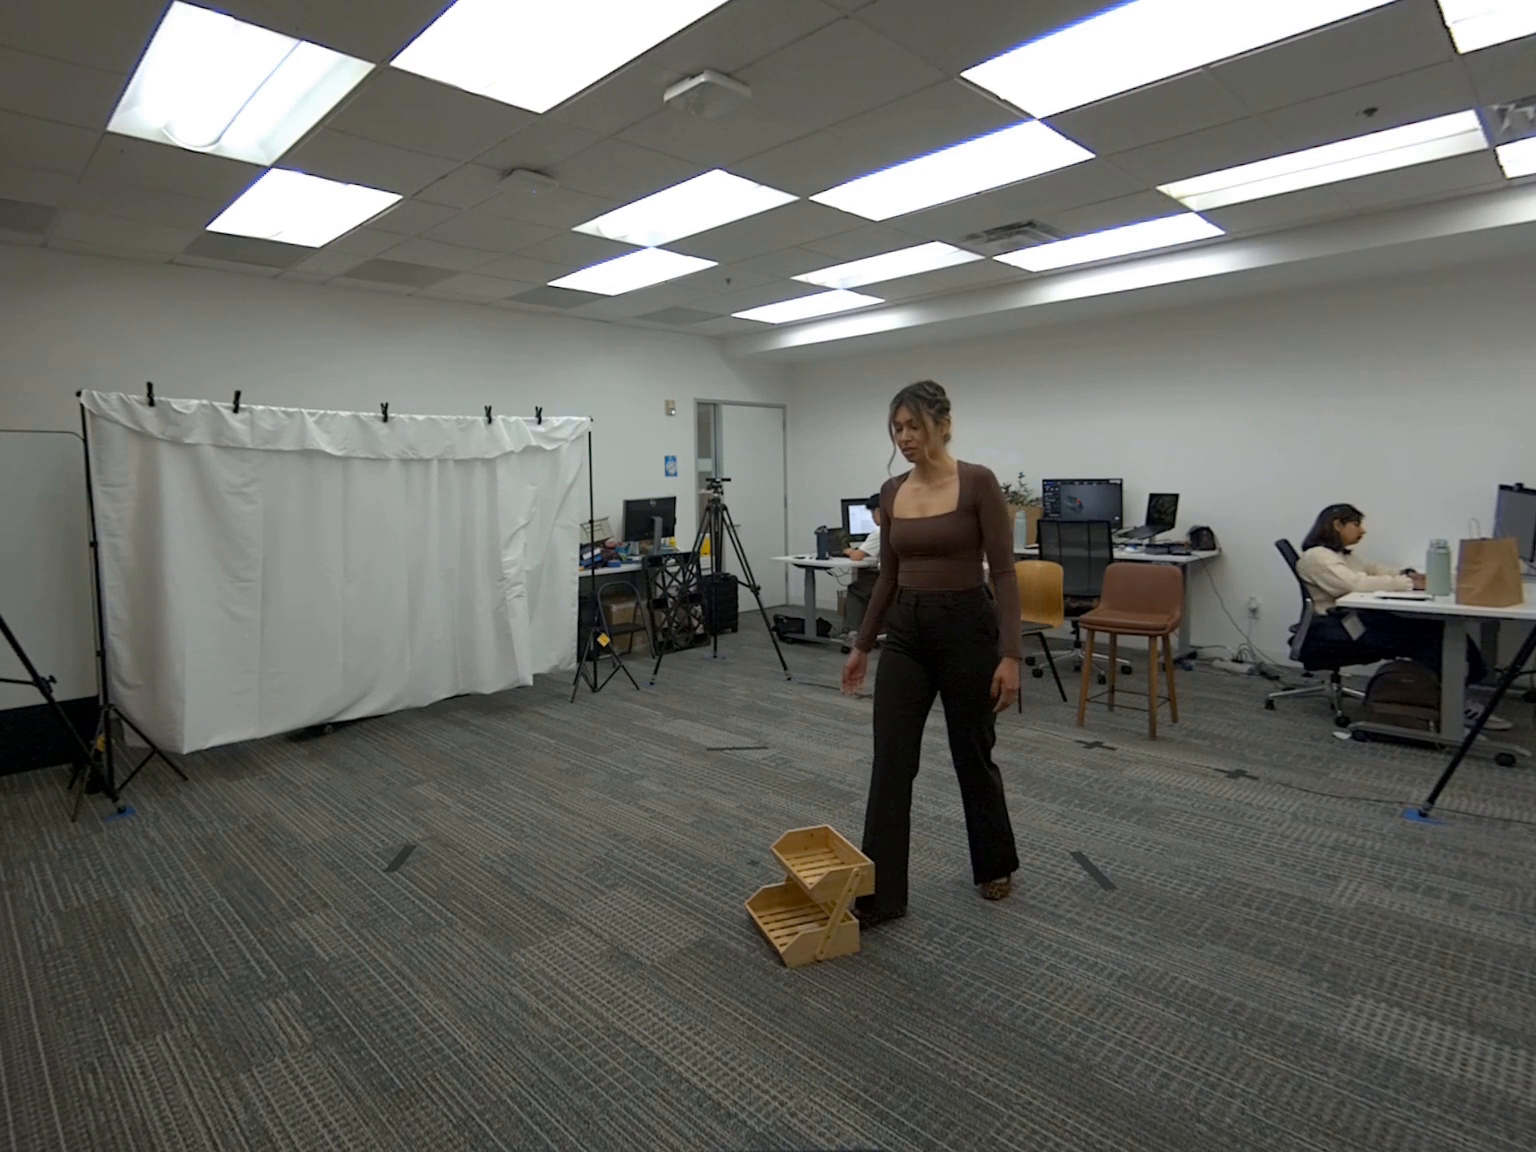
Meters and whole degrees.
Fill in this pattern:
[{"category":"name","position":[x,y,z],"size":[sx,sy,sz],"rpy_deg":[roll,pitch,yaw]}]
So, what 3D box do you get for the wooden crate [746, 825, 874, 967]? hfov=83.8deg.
[{"category":"wooden crate","position":[0.122,0.965,2.609],"size":[0.296,0.272,0.332],"rpy_deg":[-3,5,-21]}]
